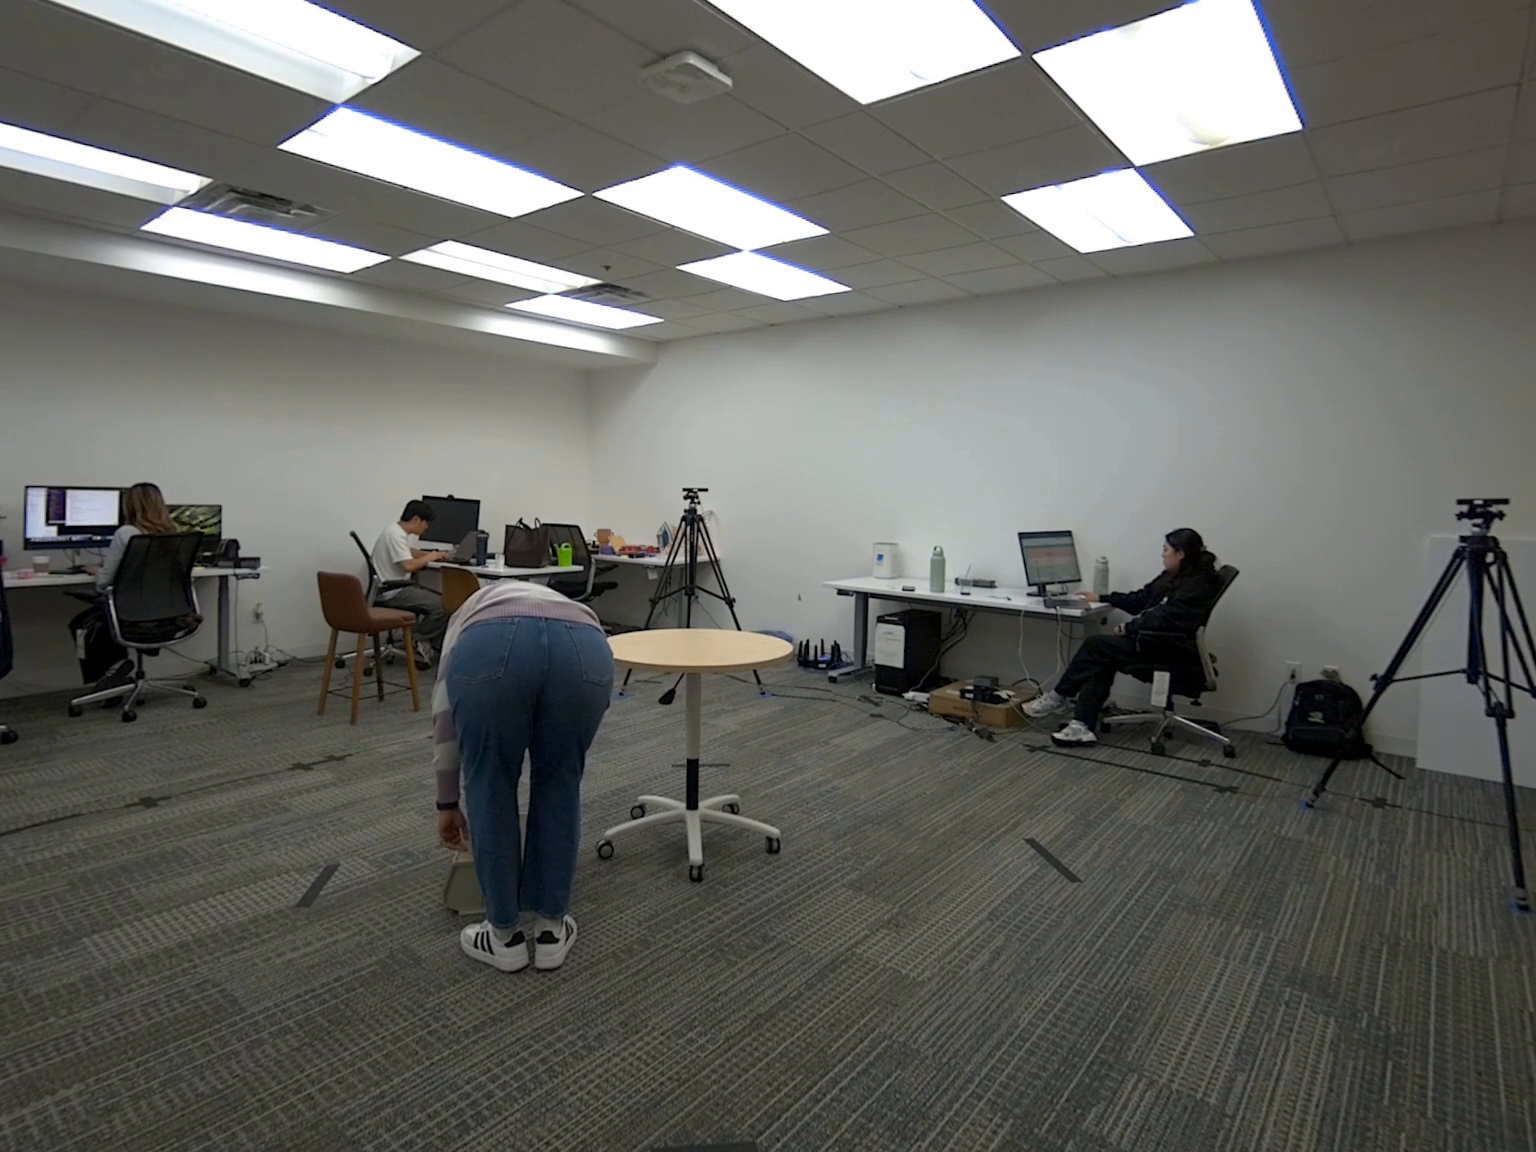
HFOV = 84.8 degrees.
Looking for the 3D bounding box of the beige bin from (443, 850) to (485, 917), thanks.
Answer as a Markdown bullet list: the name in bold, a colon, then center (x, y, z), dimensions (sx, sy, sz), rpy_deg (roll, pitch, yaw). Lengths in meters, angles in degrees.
- **beige bin**: center (-0.922, 0.975, 2.961), dimensions (0.373, 0.188, 0.428), rpy_deg (0, 4, -11)
